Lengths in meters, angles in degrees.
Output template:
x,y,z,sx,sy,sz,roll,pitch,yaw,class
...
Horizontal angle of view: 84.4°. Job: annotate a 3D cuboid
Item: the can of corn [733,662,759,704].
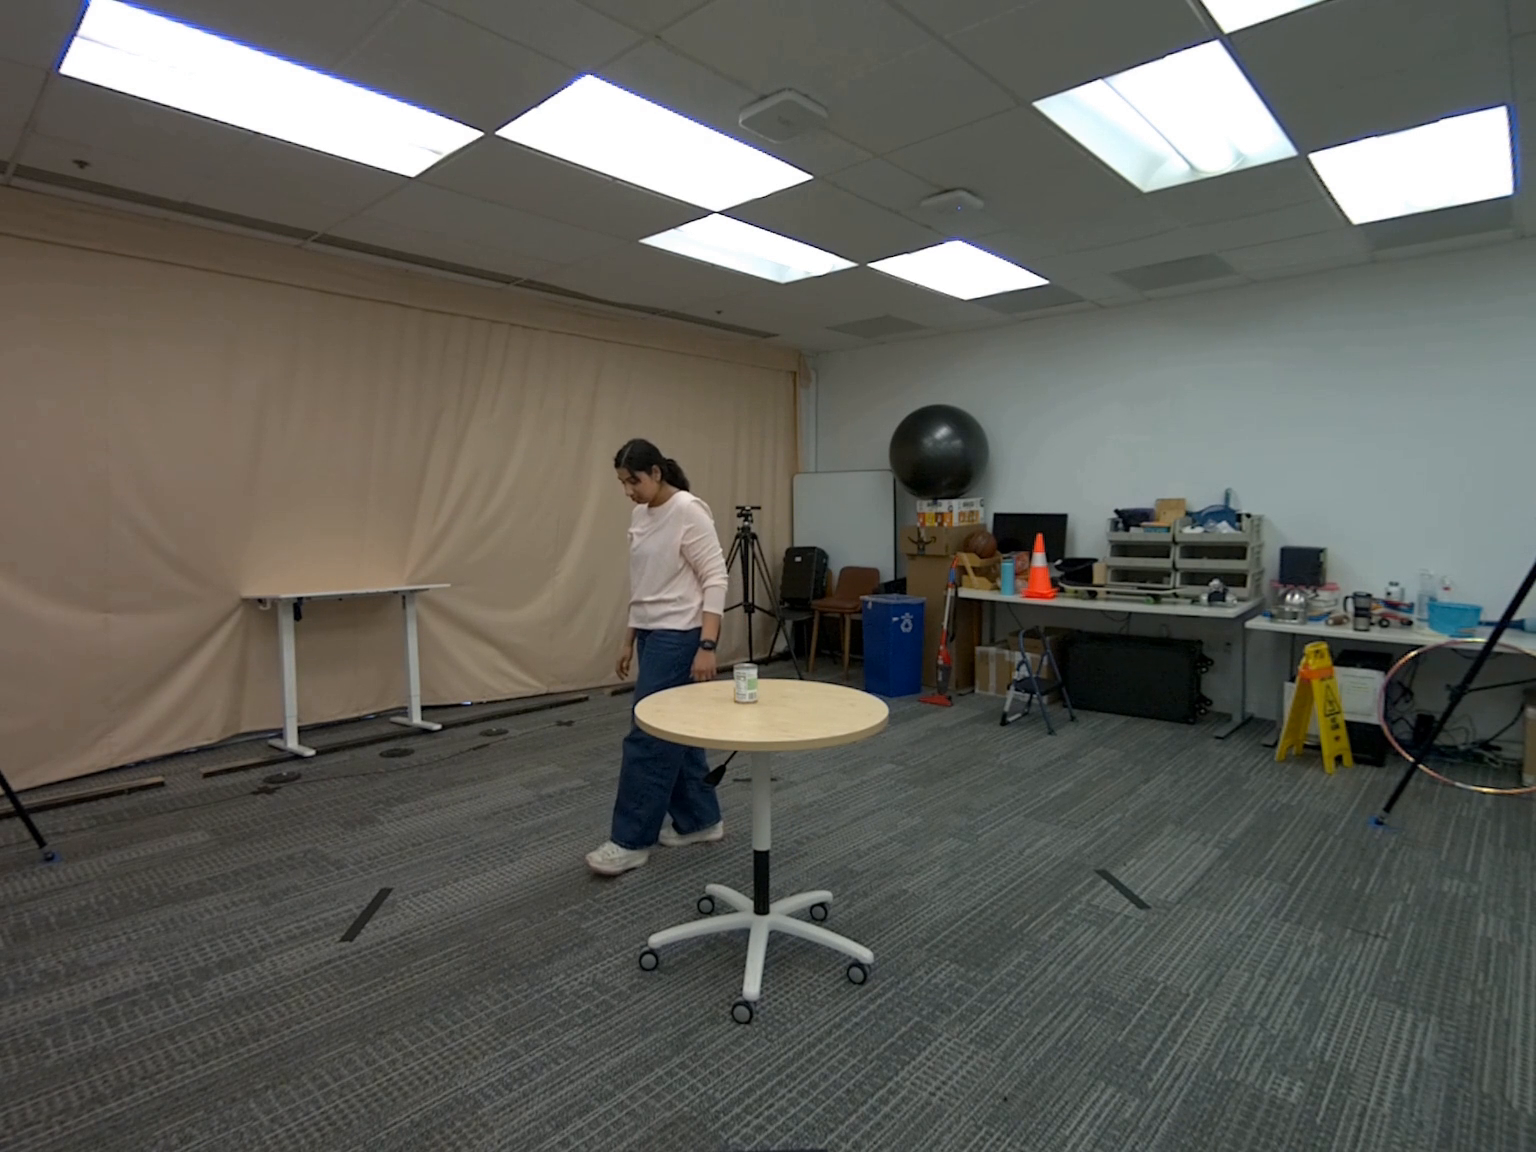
x,y,z,sx,sy,sz,roll,pitch,yaw,class
-0.066,0.339,2.612,0.074,0.110,0.074,-2,6,-2,can of corn
